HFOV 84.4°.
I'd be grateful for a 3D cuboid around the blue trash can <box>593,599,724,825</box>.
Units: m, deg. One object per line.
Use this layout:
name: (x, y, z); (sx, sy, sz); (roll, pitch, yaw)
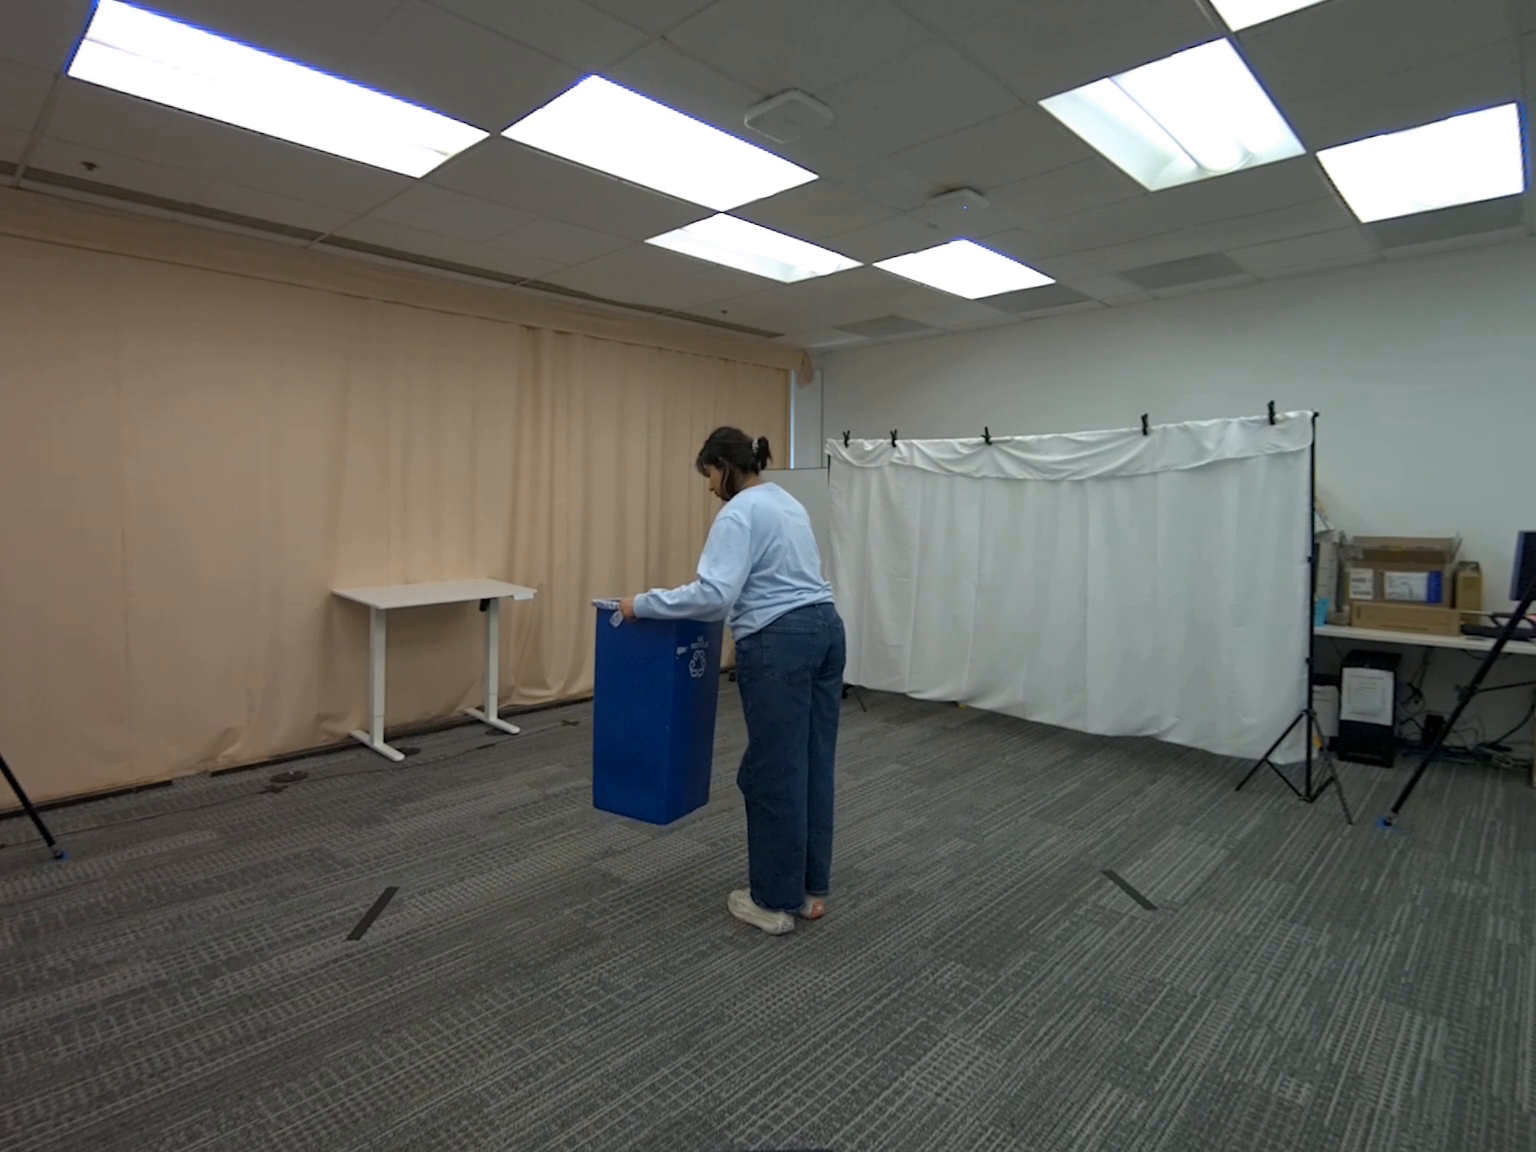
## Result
blue trash can: (-0.385, 0.457, 2.943); (0.389, 0.713, 0.364); (5, 2, 27)
